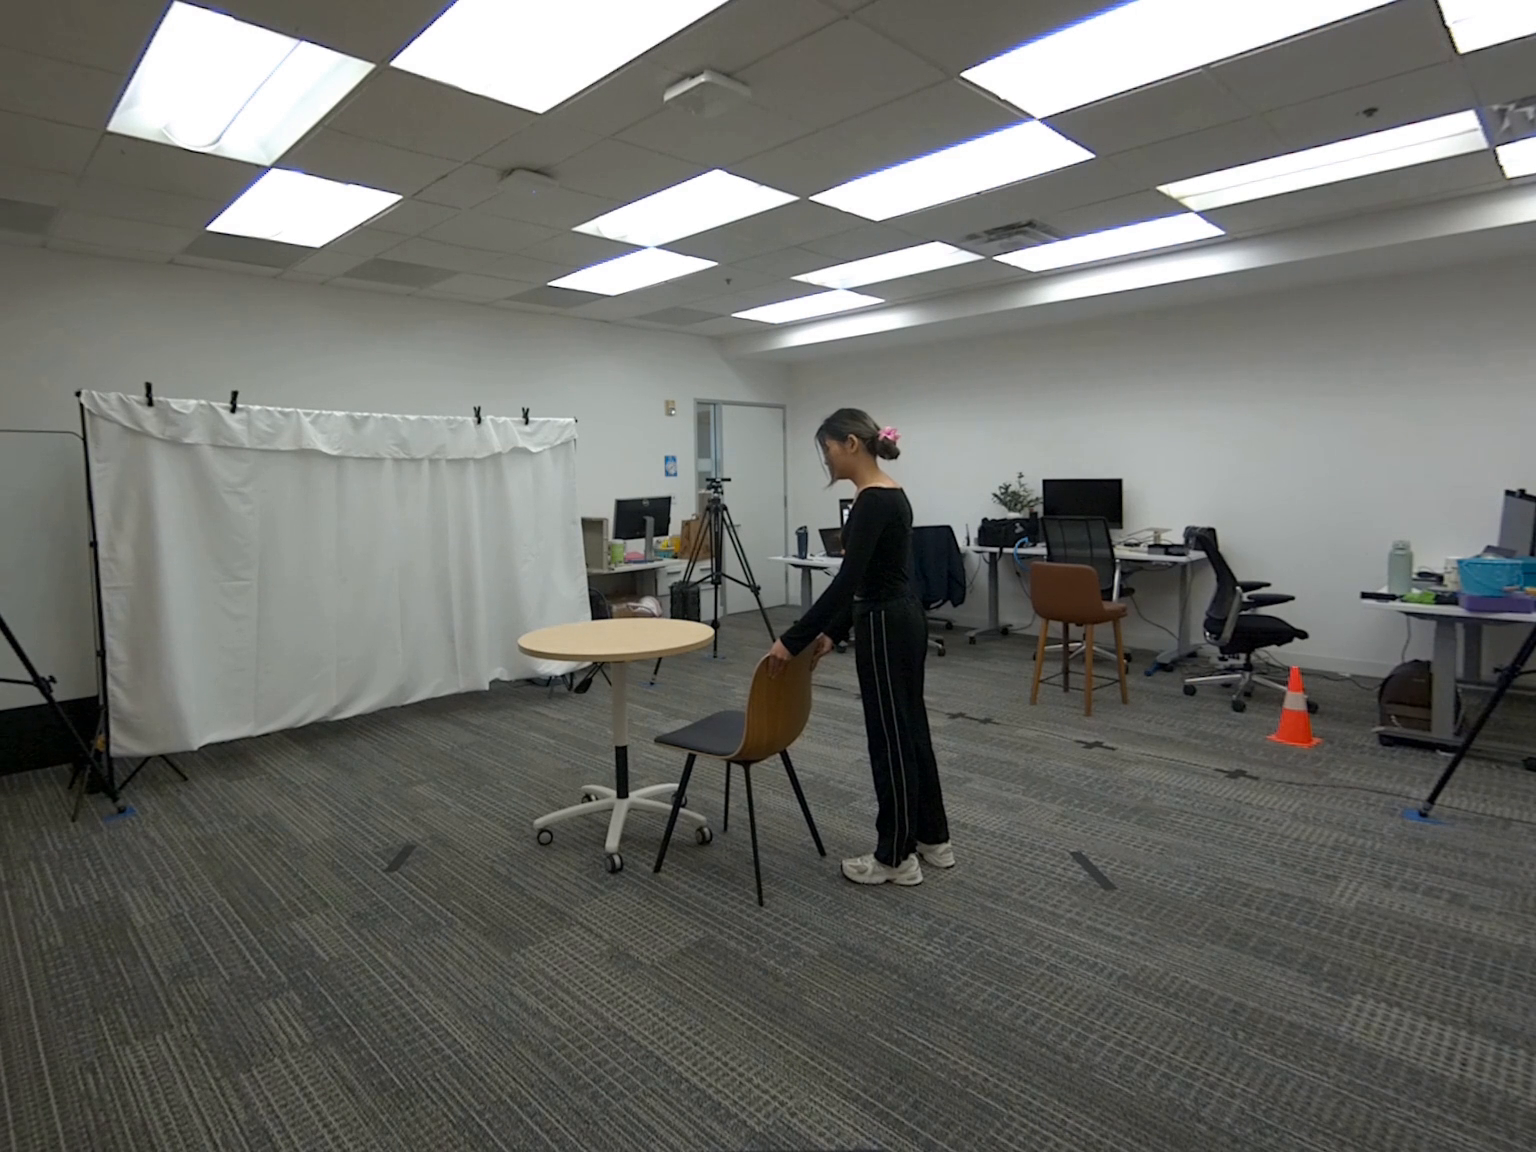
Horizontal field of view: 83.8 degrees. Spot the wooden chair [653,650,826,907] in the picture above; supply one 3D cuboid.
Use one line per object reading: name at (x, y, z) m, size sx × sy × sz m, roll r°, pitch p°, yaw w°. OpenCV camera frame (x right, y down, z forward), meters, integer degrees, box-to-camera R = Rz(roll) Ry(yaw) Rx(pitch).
wooden chair at (-0.107, 0.618, 3.065) m, size 0.539 × 0.872 × 0.467 m, roll 7°, pitch 8°, yaw 33°
